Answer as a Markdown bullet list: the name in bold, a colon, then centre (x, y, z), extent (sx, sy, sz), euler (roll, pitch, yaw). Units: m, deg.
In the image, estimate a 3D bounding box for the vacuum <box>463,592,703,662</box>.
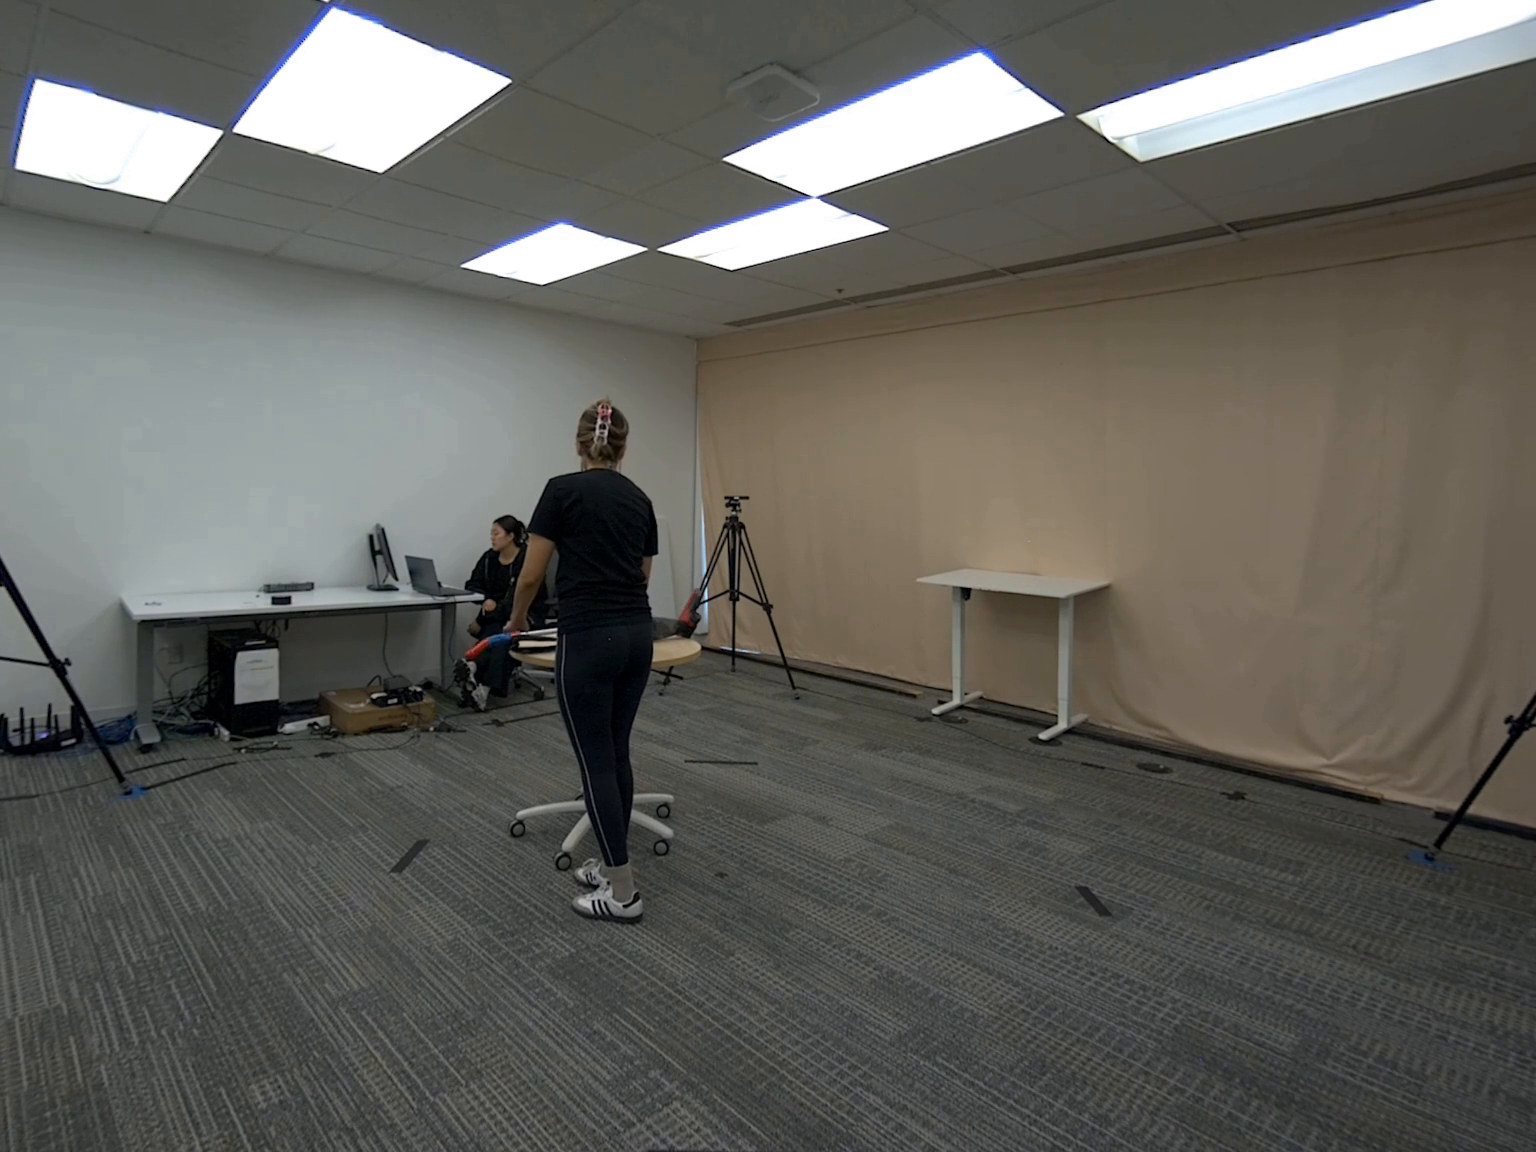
- **vacuum**: centre (-0.712, 0.243, 3.368), extent (1.028, 0.251, 0.148), euler (-8, 52, -41)
